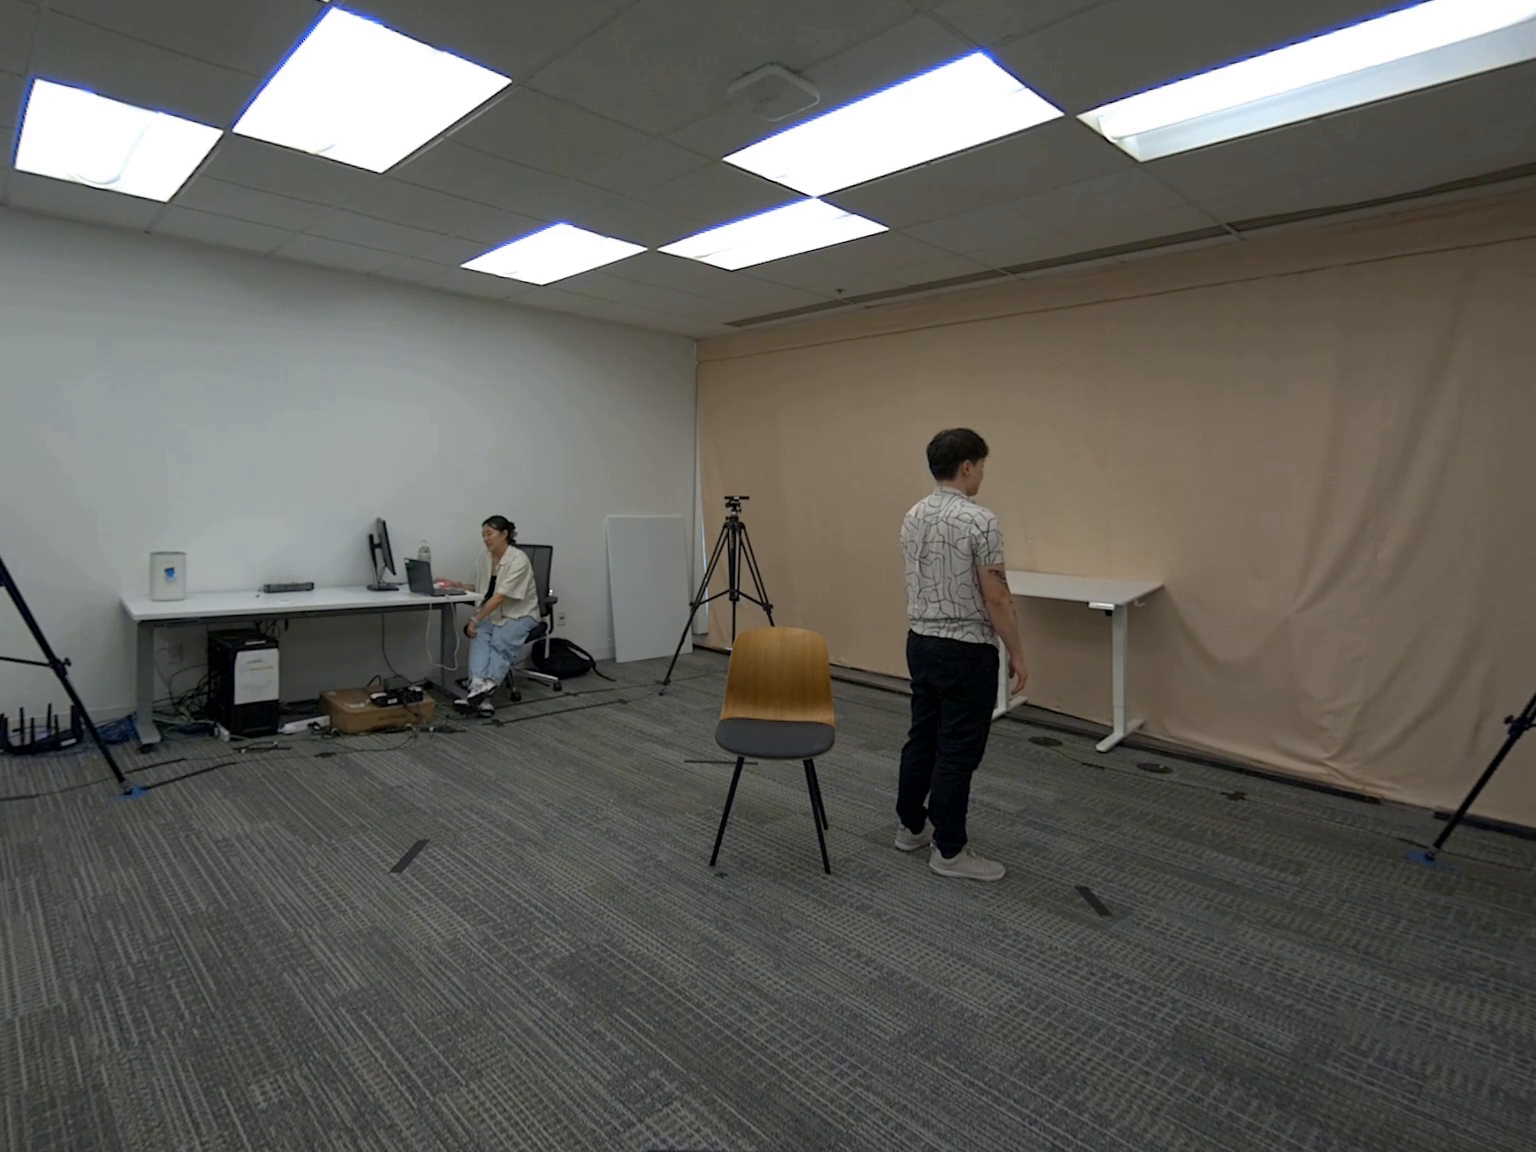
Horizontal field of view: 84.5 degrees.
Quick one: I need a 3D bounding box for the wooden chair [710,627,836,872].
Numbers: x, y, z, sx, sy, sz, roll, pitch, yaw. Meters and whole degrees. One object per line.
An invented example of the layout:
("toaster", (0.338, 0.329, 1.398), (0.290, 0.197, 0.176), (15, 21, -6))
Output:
("wooden chair", (0.028, 0.659, 3.334), (0.480, 0.878, 0.520), (2, -1, 5))
